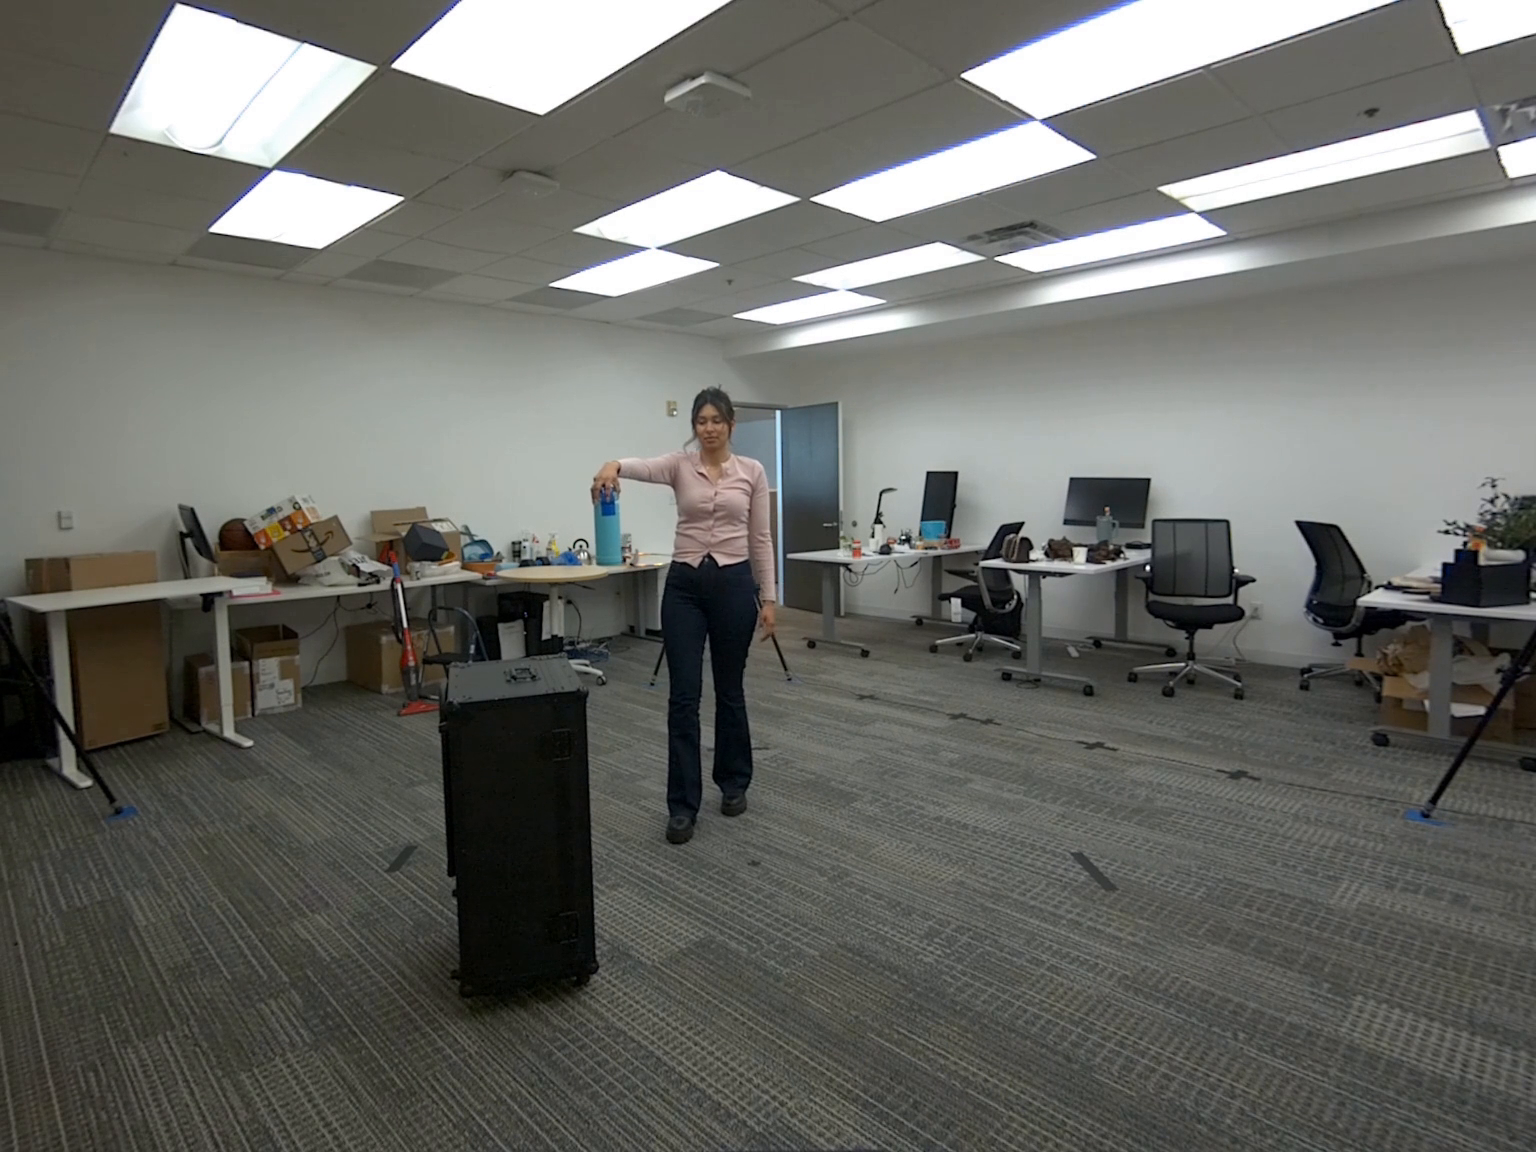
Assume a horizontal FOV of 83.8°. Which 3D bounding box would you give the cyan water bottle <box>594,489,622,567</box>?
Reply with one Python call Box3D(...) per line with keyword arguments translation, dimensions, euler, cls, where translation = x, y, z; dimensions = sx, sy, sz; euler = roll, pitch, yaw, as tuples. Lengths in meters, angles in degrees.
Box3D(translation=(-0.561, -0.181, 2.986), dimensions=(0.092, 0.282, 0.093), euler=(1, 4, -2), cls="cyan water bottle")
